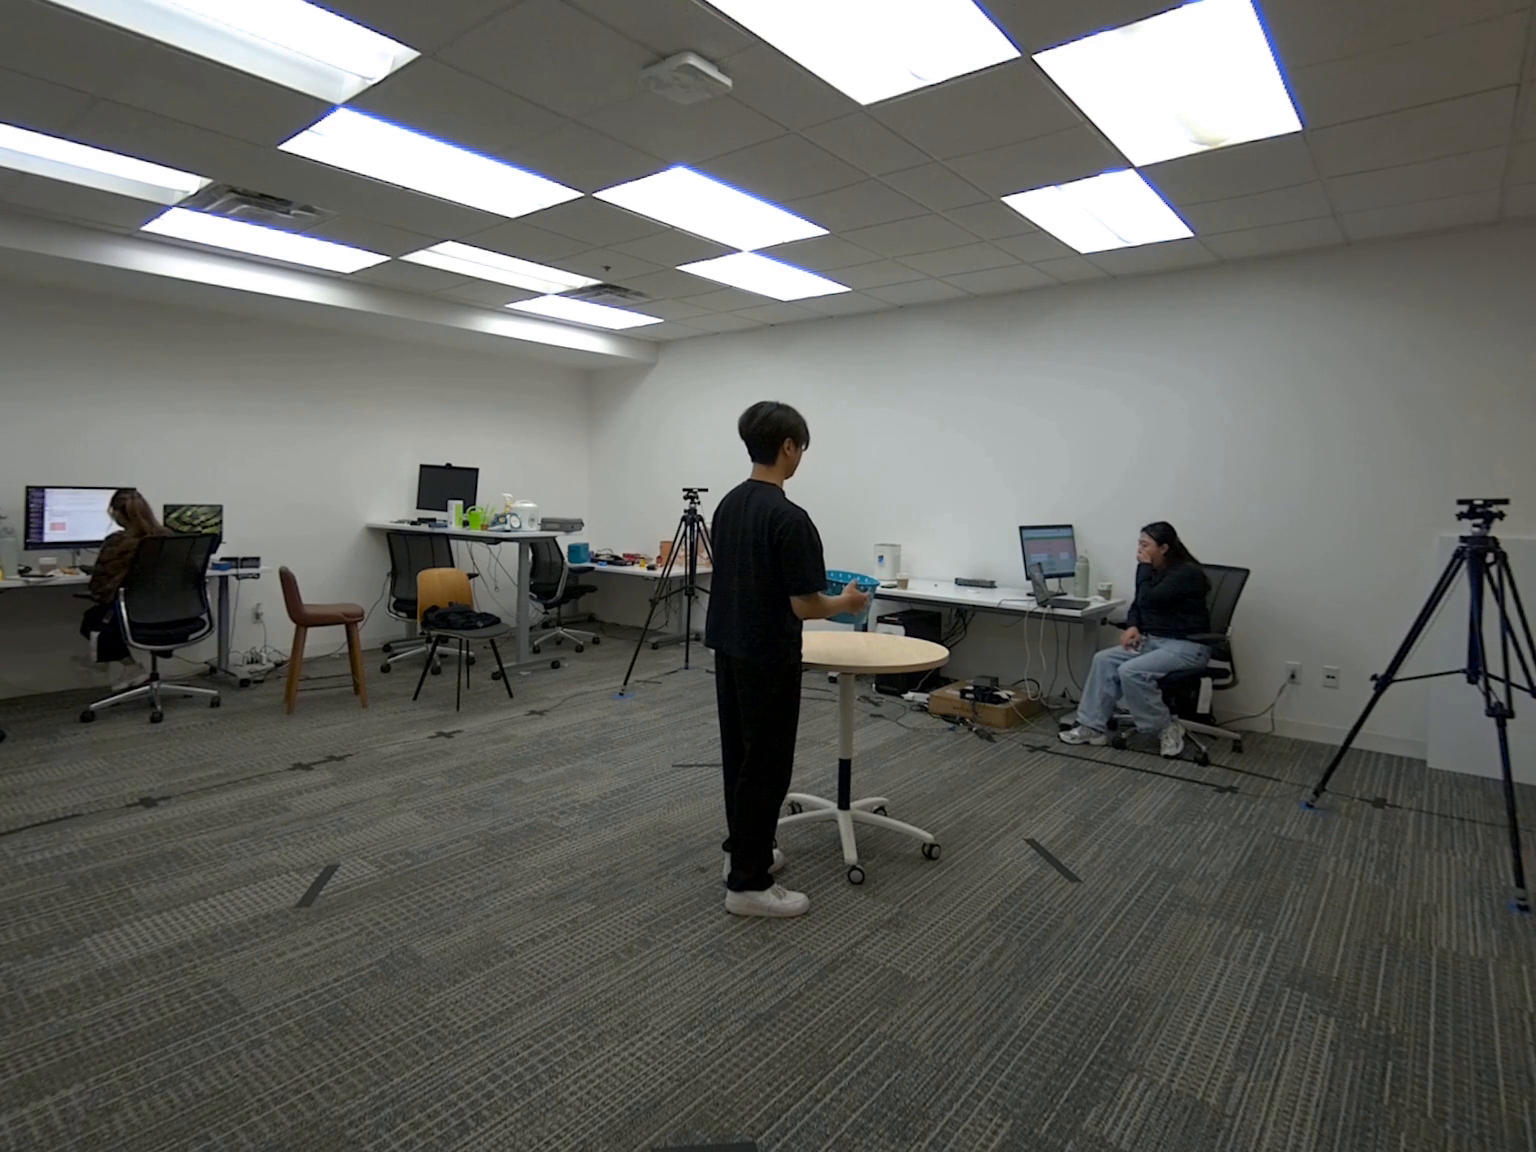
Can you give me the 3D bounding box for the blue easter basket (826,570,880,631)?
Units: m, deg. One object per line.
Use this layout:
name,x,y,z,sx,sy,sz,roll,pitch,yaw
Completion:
blue easter basket,0.261,0.079,3.051,0.243,0.155,0.246,6,8,-3
